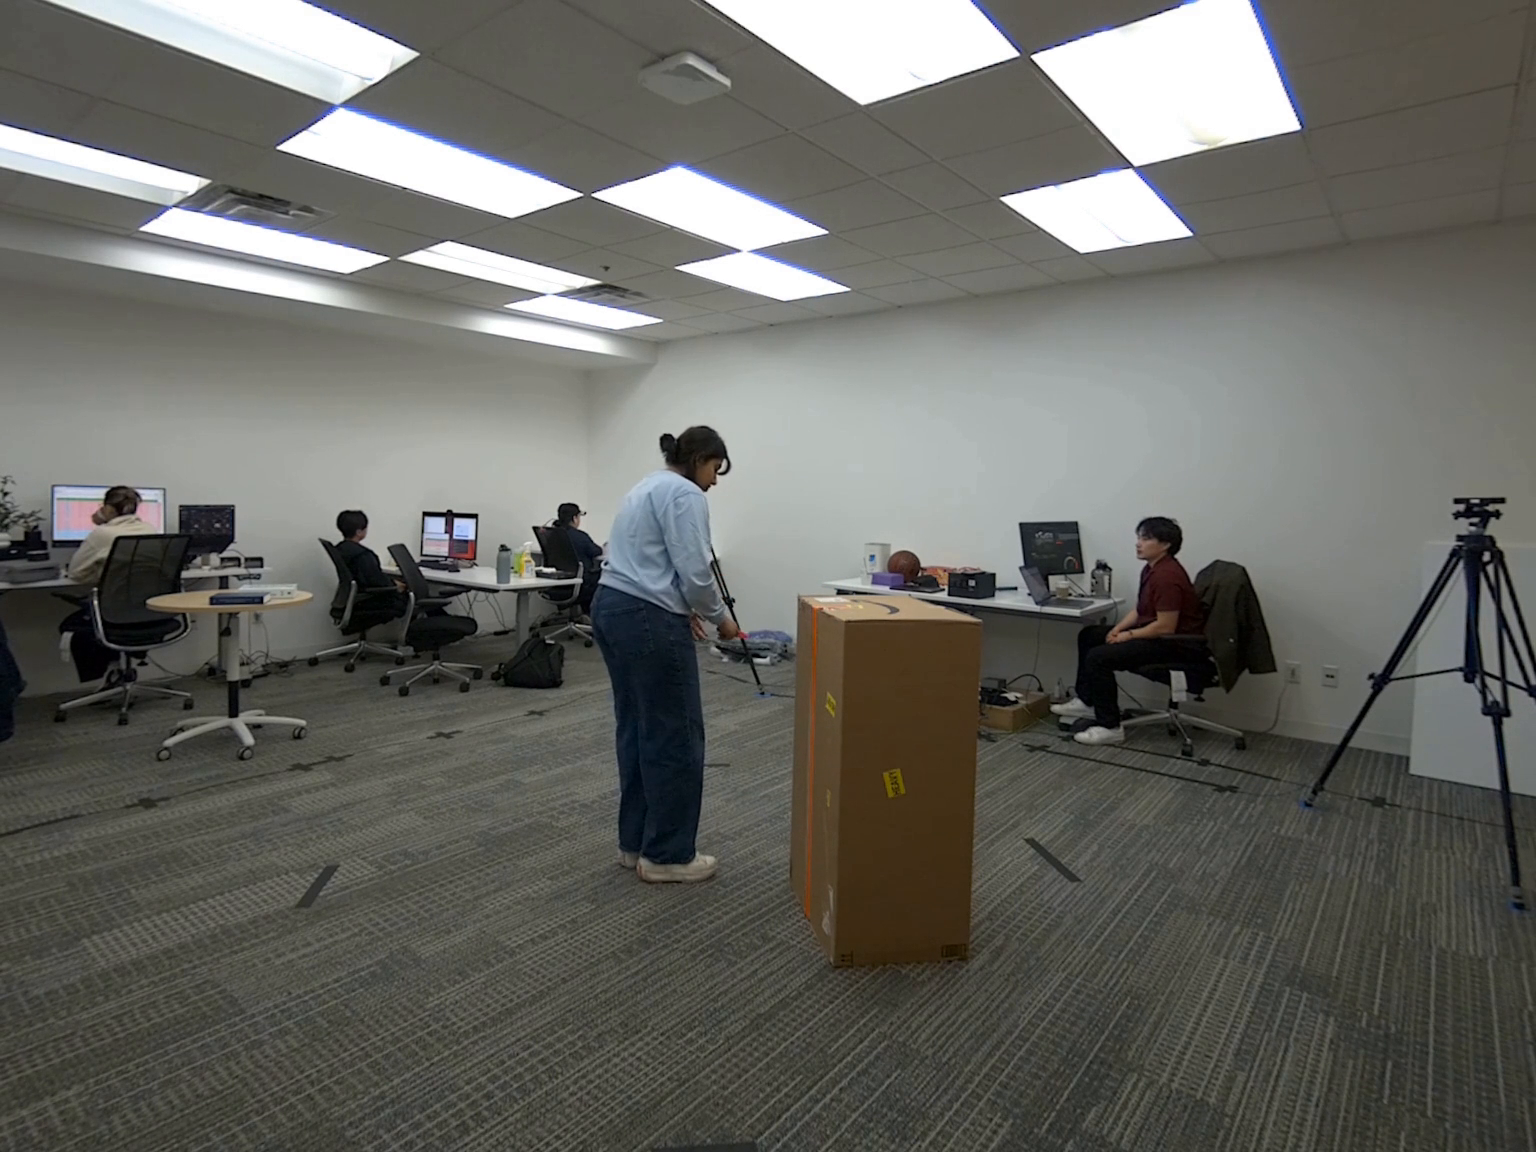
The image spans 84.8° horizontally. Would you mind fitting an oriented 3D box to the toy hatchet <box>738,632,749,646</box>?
[{"bbox_3d":[-0.176,0.229,3.275,0.135,0.029,0.262,17,-2,22],"label":"toy hatchet"}]
